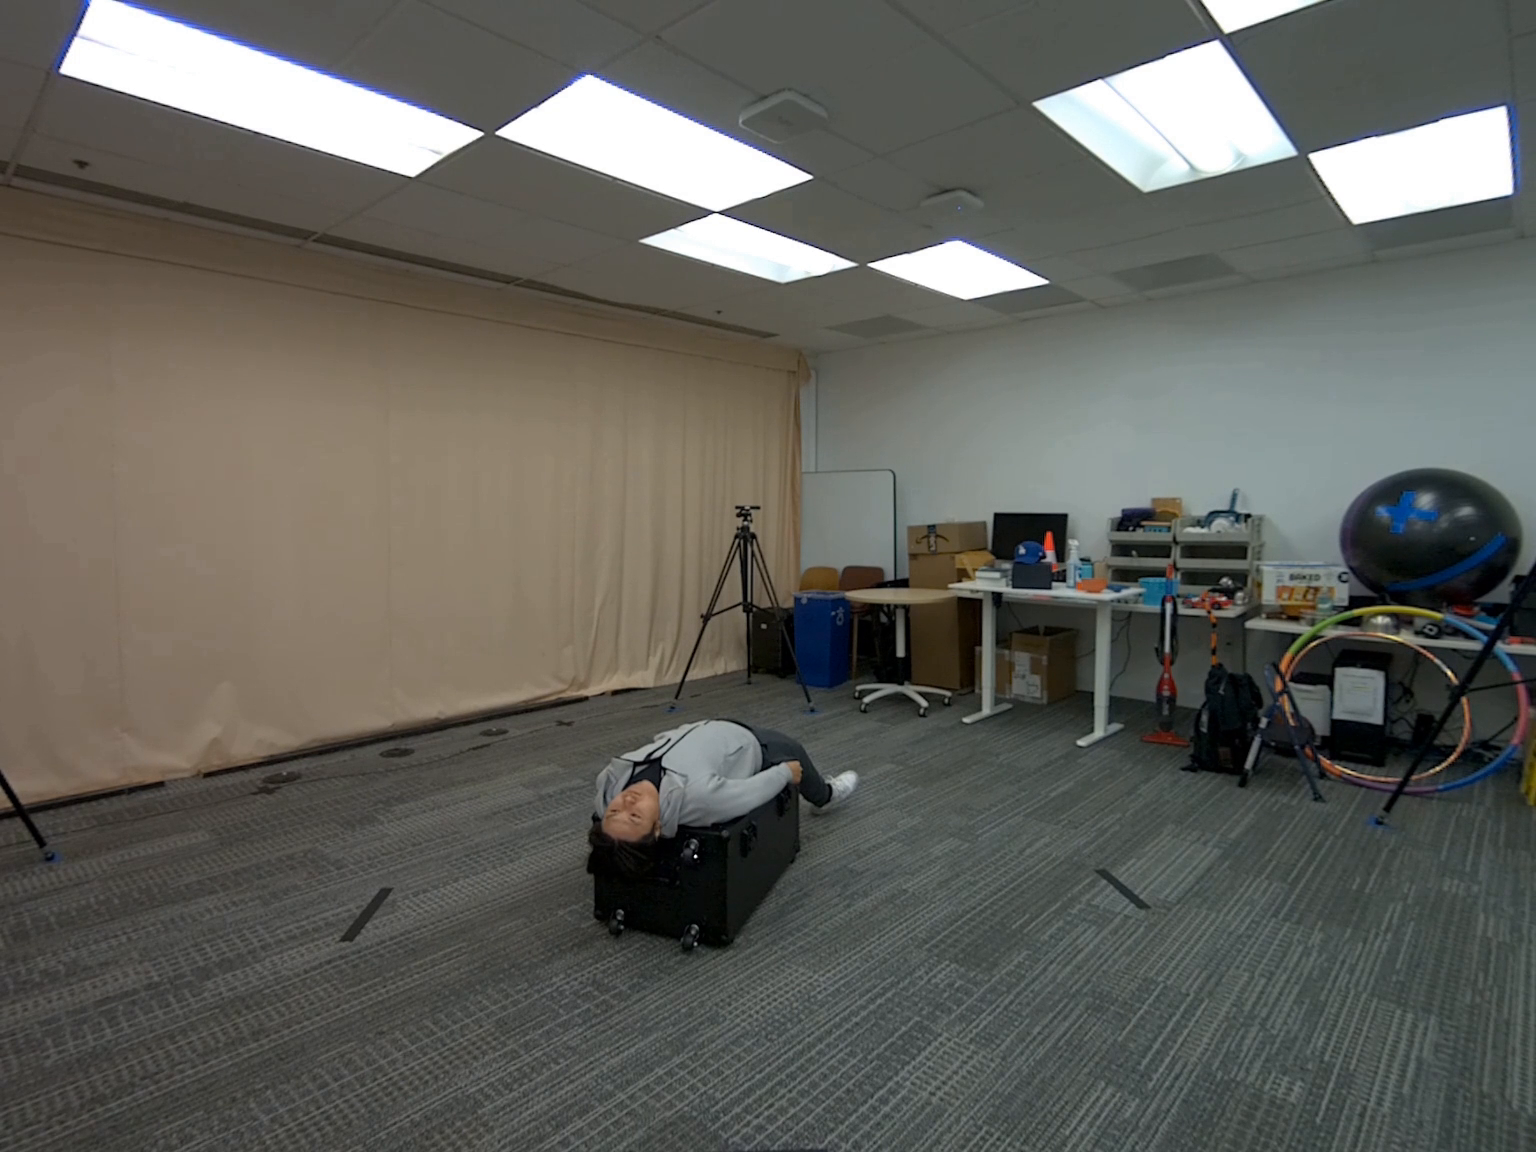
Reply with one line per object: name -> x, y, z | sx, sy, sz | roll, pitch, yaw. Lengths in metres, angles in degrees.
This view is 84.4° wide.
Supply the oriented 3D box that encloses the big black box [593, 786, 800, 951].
big black box -> -0.210, 0.951, 3.087 | 0.533, 0.395, 0.844 | 2, 6, 21
